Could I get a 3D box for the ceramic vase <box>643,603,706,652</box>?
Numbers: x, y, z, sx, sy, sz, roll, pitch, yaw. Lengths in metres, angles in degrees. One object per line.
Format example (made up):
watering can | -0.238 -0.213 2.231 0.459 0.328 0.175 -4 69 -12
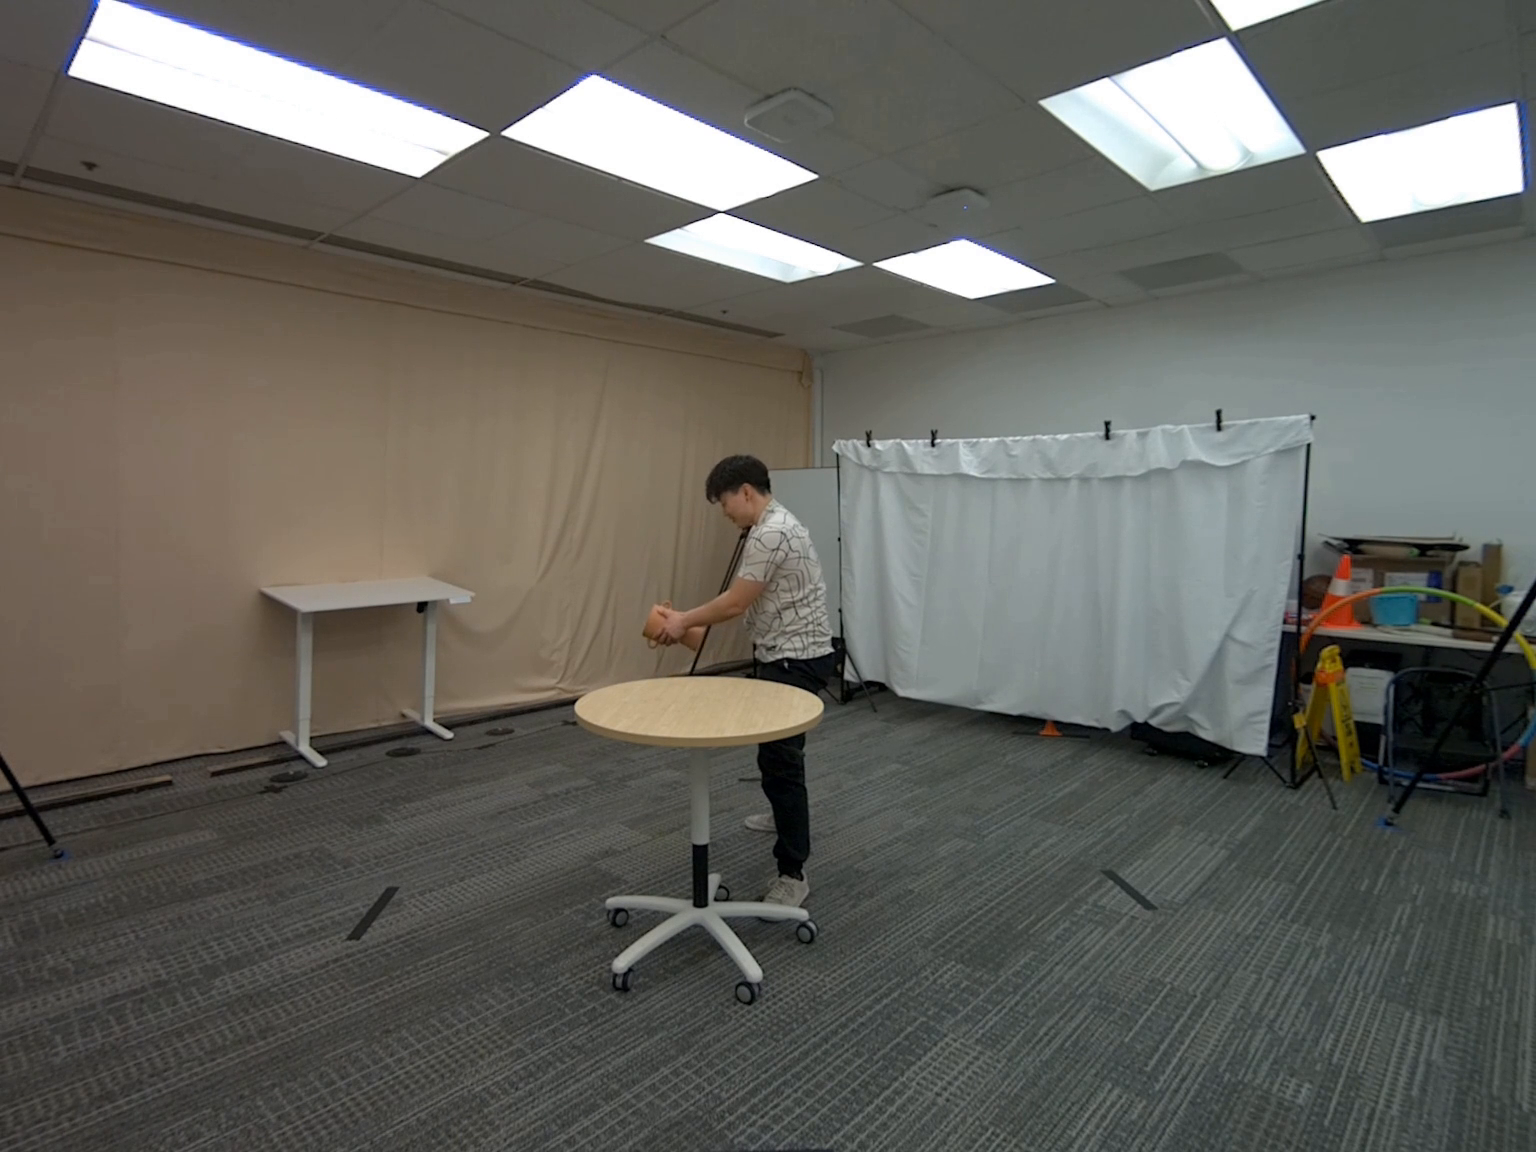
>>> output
ceramic vase | -0.372 0.218 3.313 0.221 0.158 0.135 21 27 2
